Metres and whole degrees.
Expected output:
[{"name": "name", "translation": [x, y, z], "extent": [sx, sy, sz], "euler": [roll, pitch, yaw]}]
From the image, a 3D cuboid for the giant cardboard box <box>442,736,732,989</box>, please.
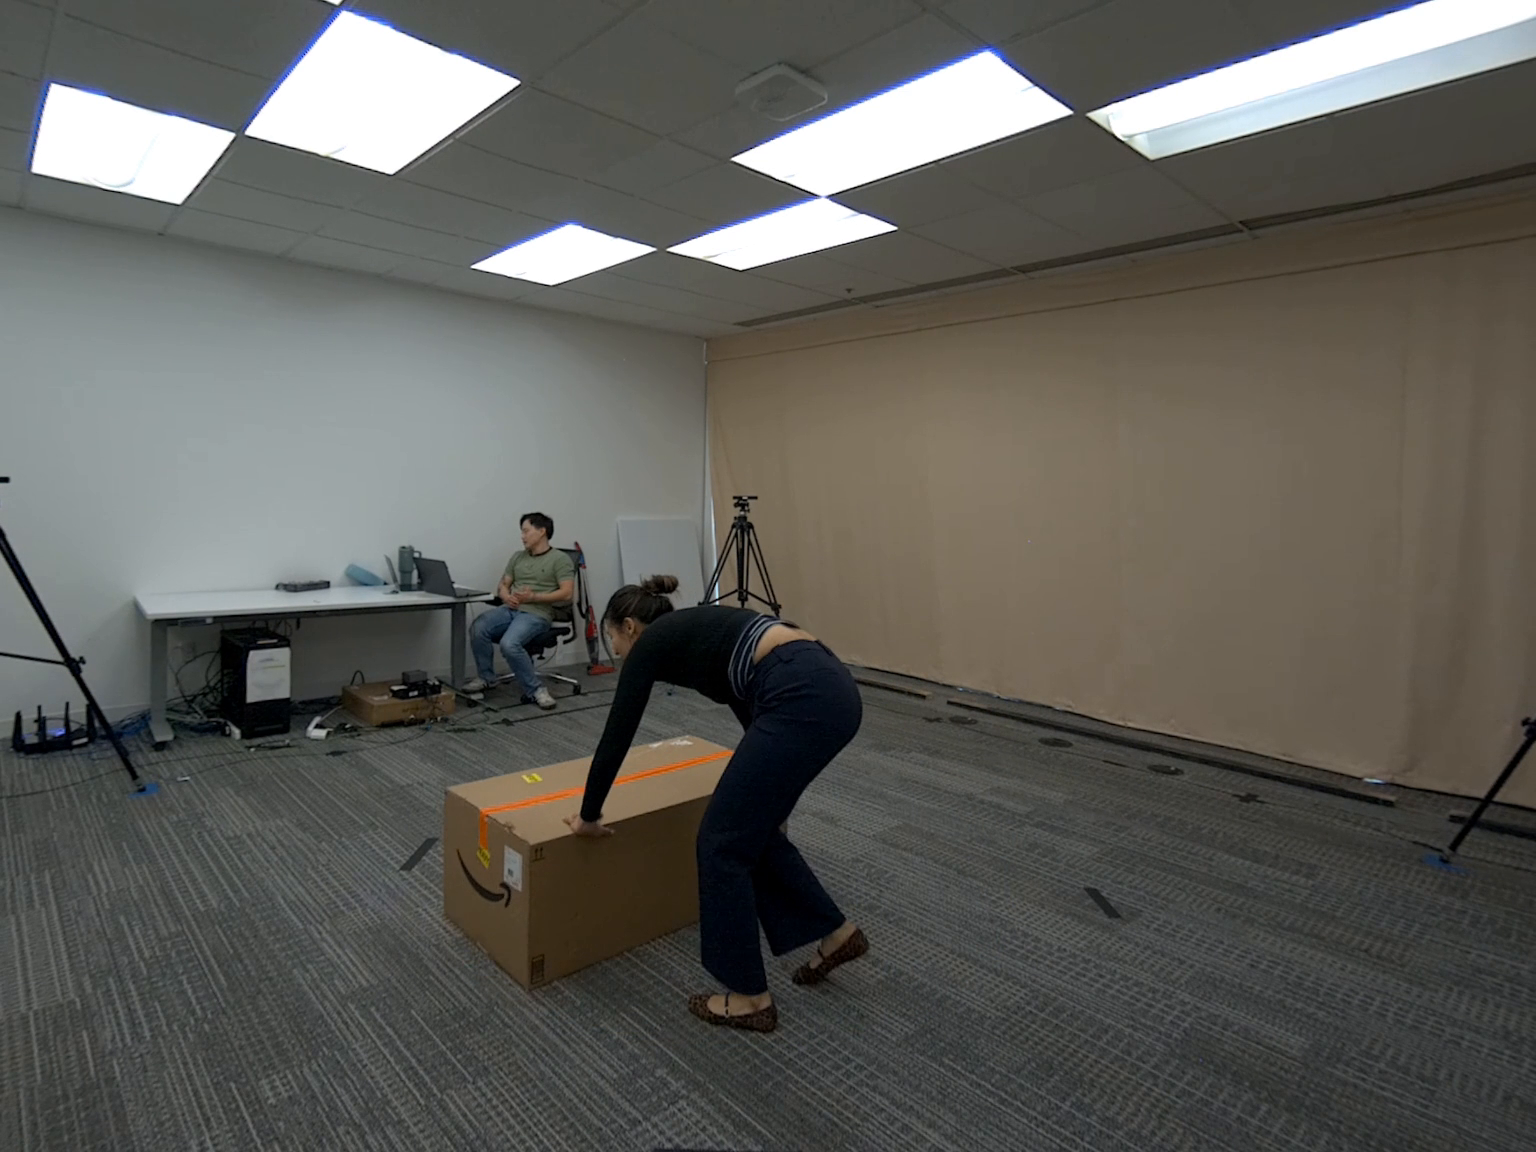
[{"name": "giant cardboard box", "translation": [-0.500, 0.903, 2.886], "extent": [1.003, 0.425, 0.593], "euler": [-4, 7, -43]}]
